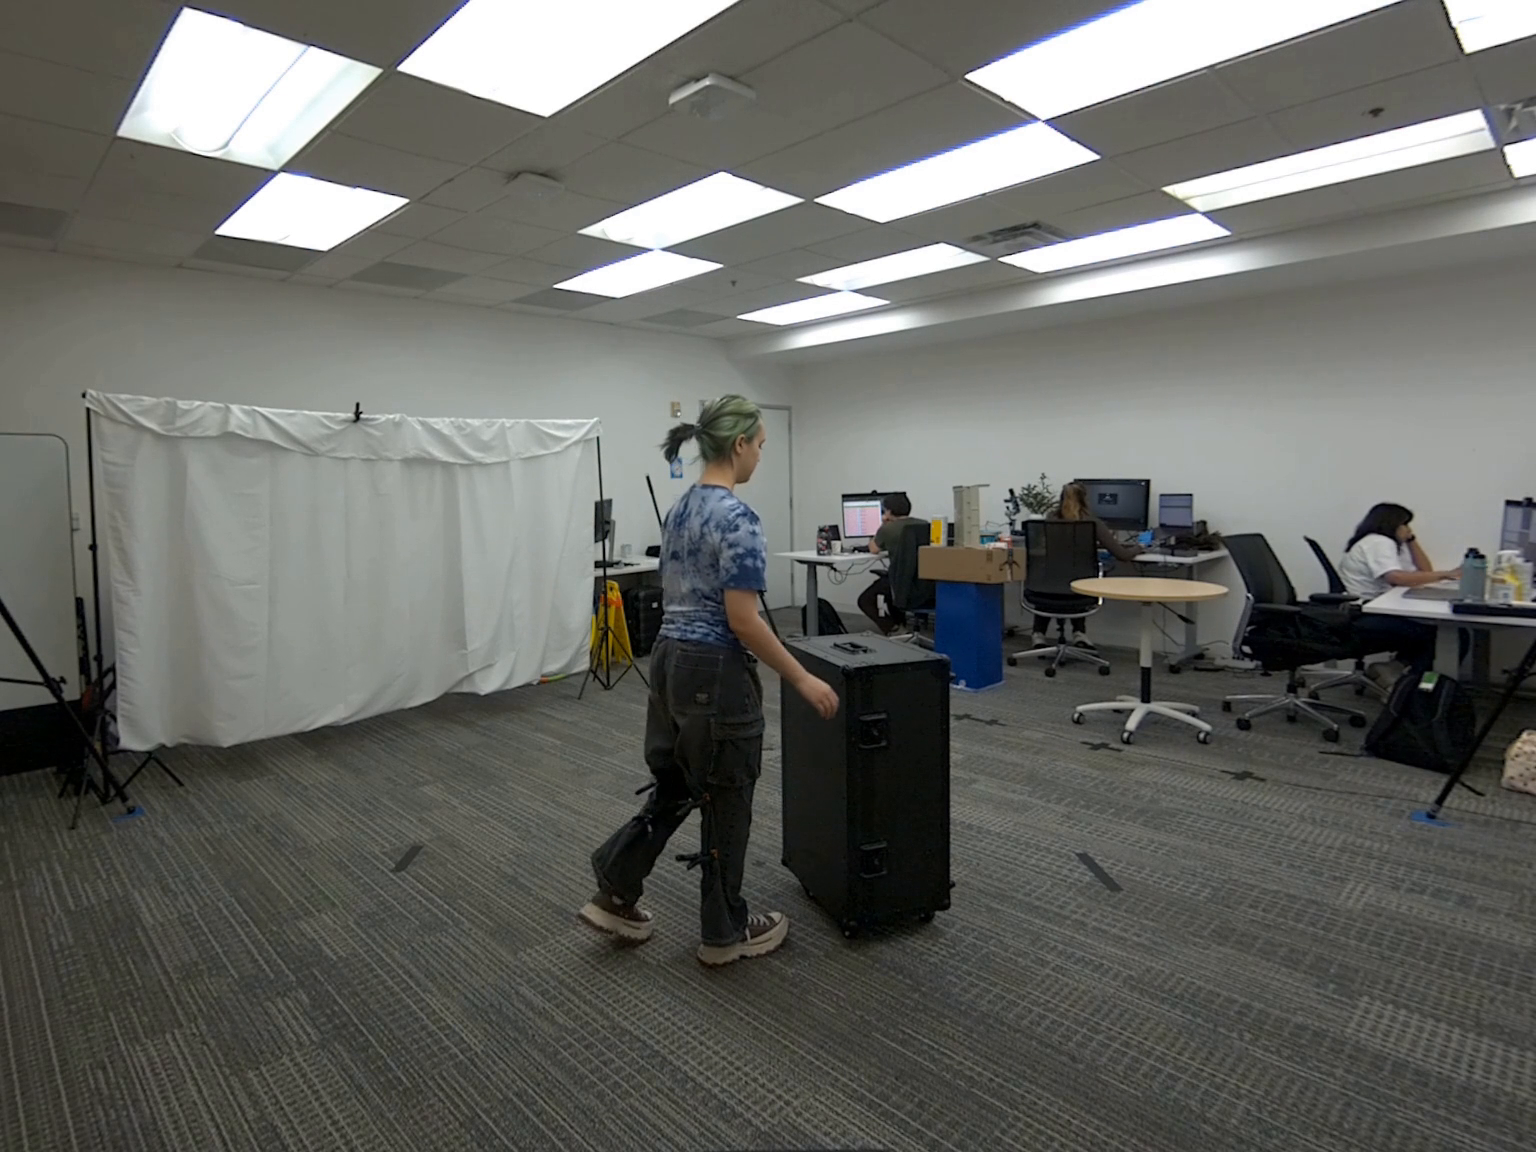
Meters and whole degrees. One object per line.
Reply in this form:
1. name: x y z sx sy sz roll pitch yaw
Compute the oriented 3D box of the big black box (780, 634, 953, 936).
1. big black box: 0.315 0.598 2.760 0.388 0.859 0.533 -3 4 -23
